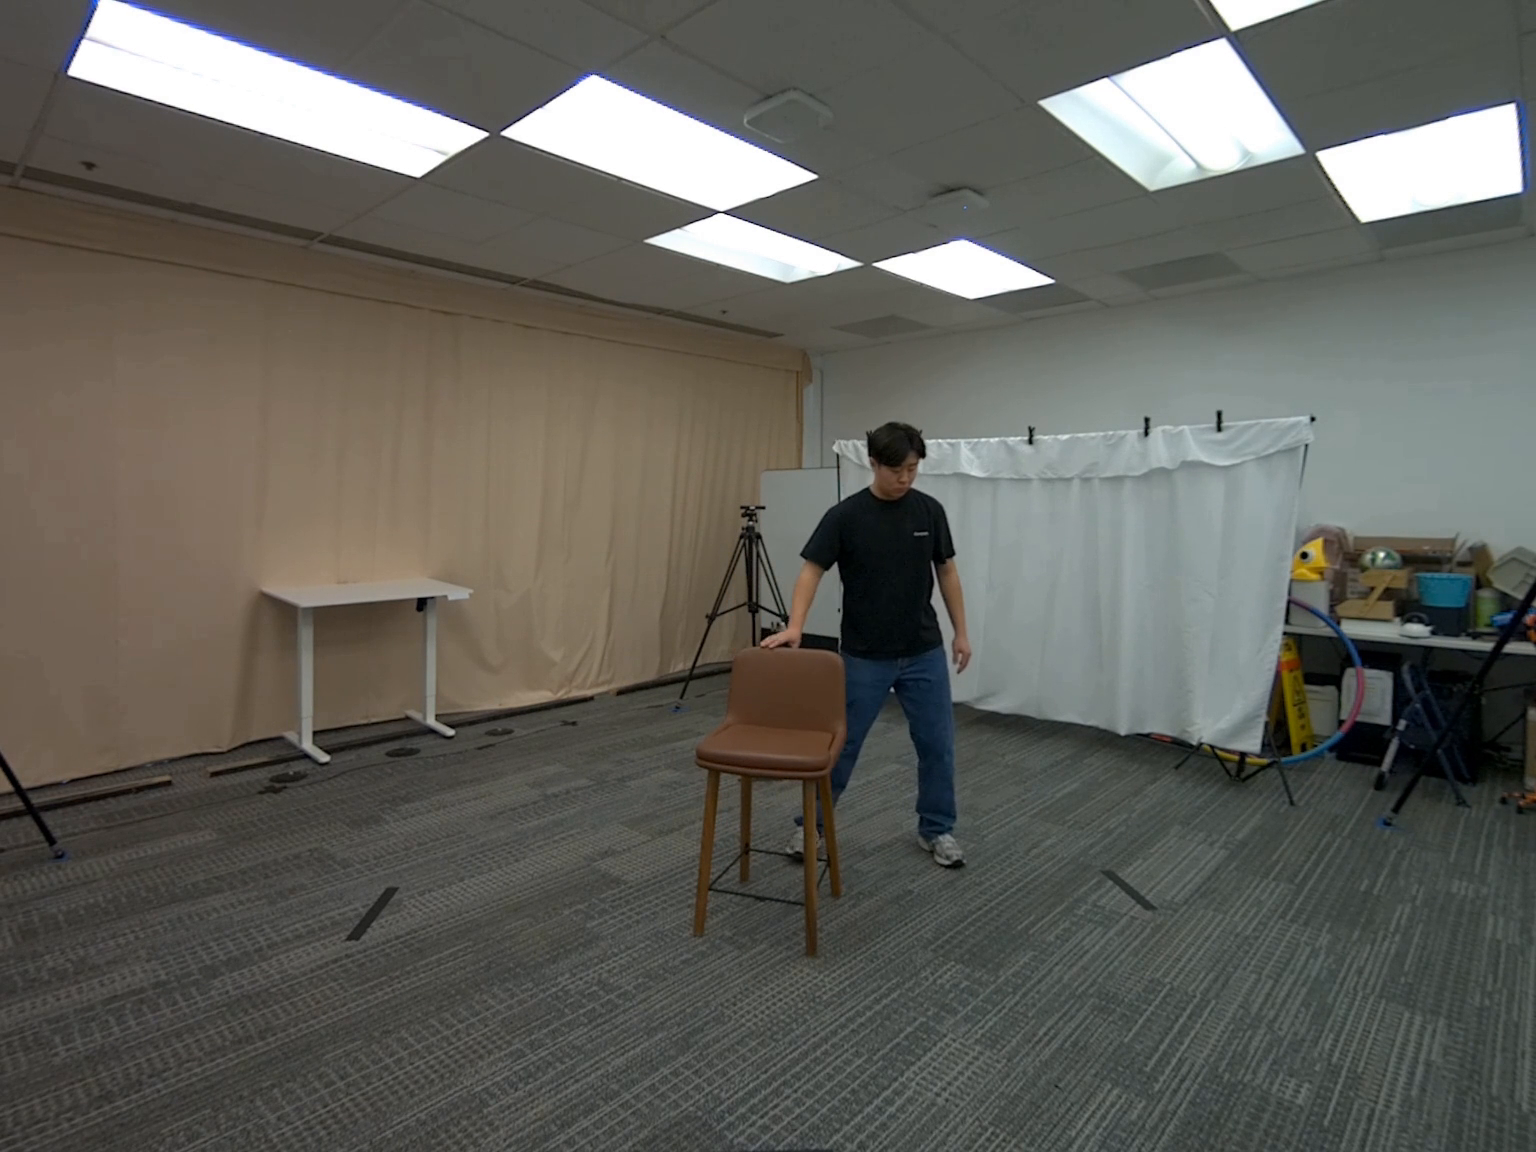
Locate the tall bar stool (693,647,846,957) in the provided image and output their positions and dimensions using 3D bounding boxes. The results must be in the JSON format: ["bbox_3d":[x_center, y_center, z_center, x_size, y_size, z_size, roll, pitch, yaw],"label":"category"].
[{"bbox_3d":[0.023,0.718,2.853,0.467,0.889,0.458,2,1,20],"label":"tall bar stool"}]
